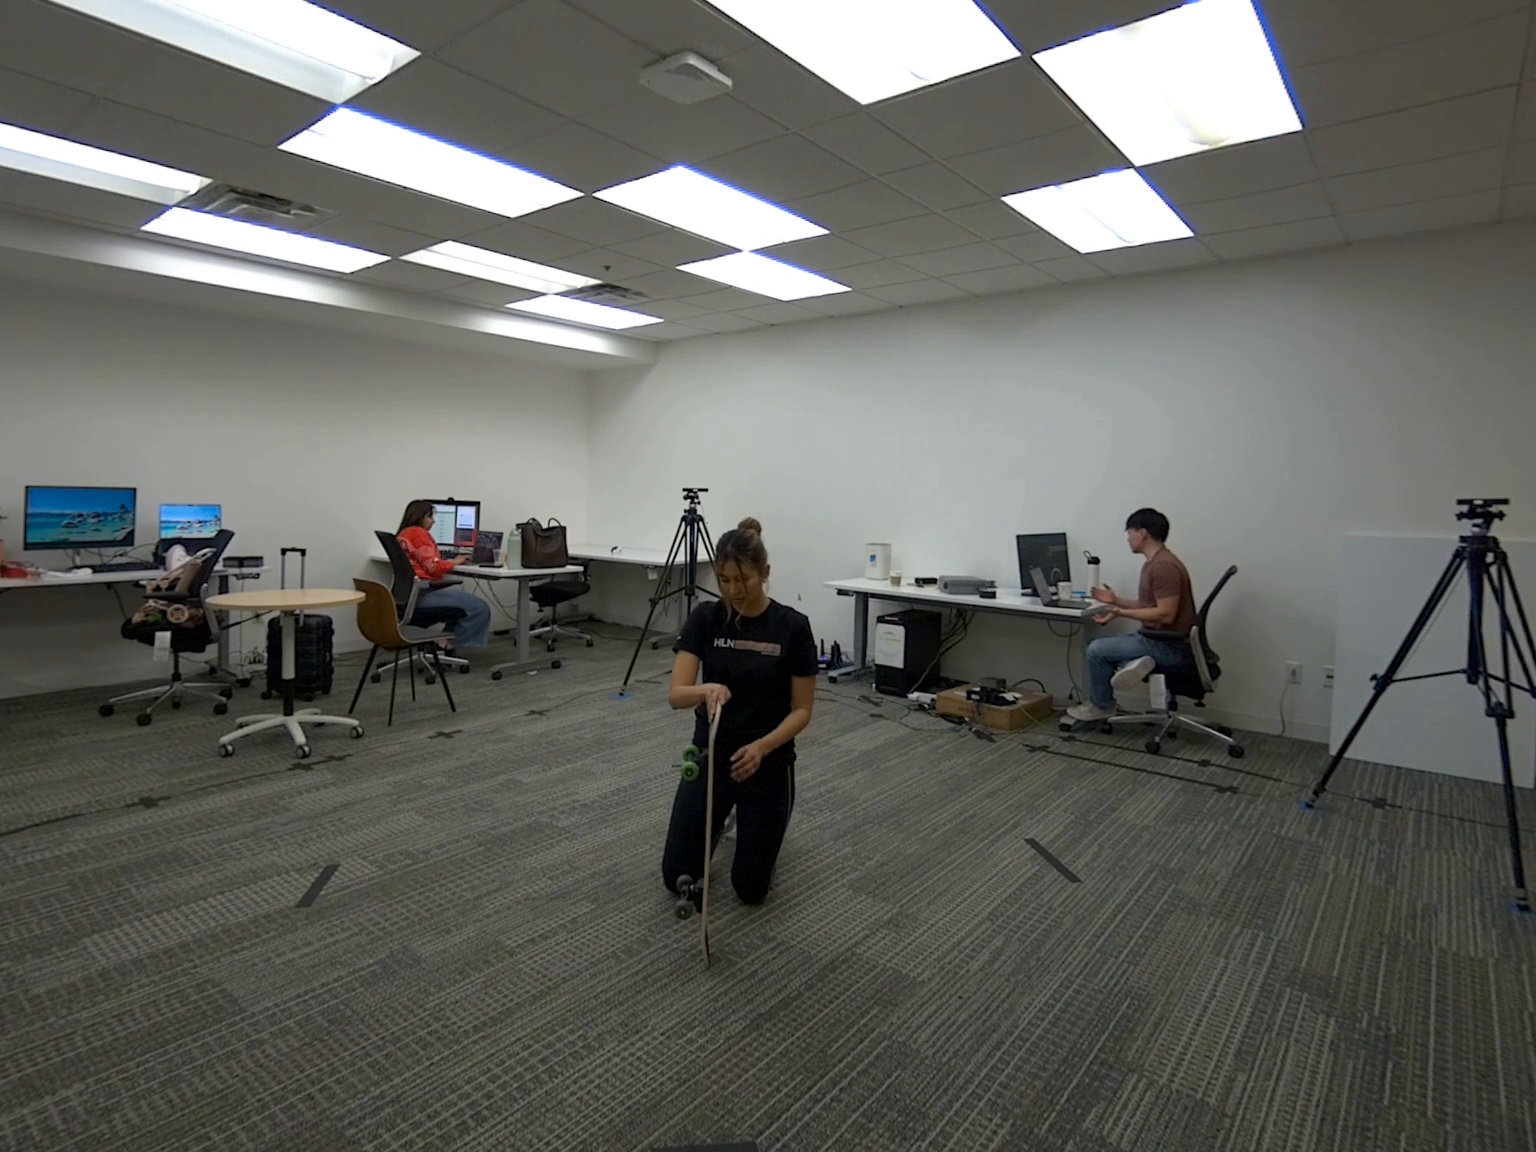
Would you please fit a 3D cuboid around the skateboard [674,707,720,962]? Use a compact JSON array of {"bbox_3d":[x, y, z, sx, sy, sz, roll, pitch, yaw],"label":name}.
[{"bbox_3d":[-0.211,0.737,2.476,0.110,0.783,0.194,3,3,-3],"label":"skateboard"}]
